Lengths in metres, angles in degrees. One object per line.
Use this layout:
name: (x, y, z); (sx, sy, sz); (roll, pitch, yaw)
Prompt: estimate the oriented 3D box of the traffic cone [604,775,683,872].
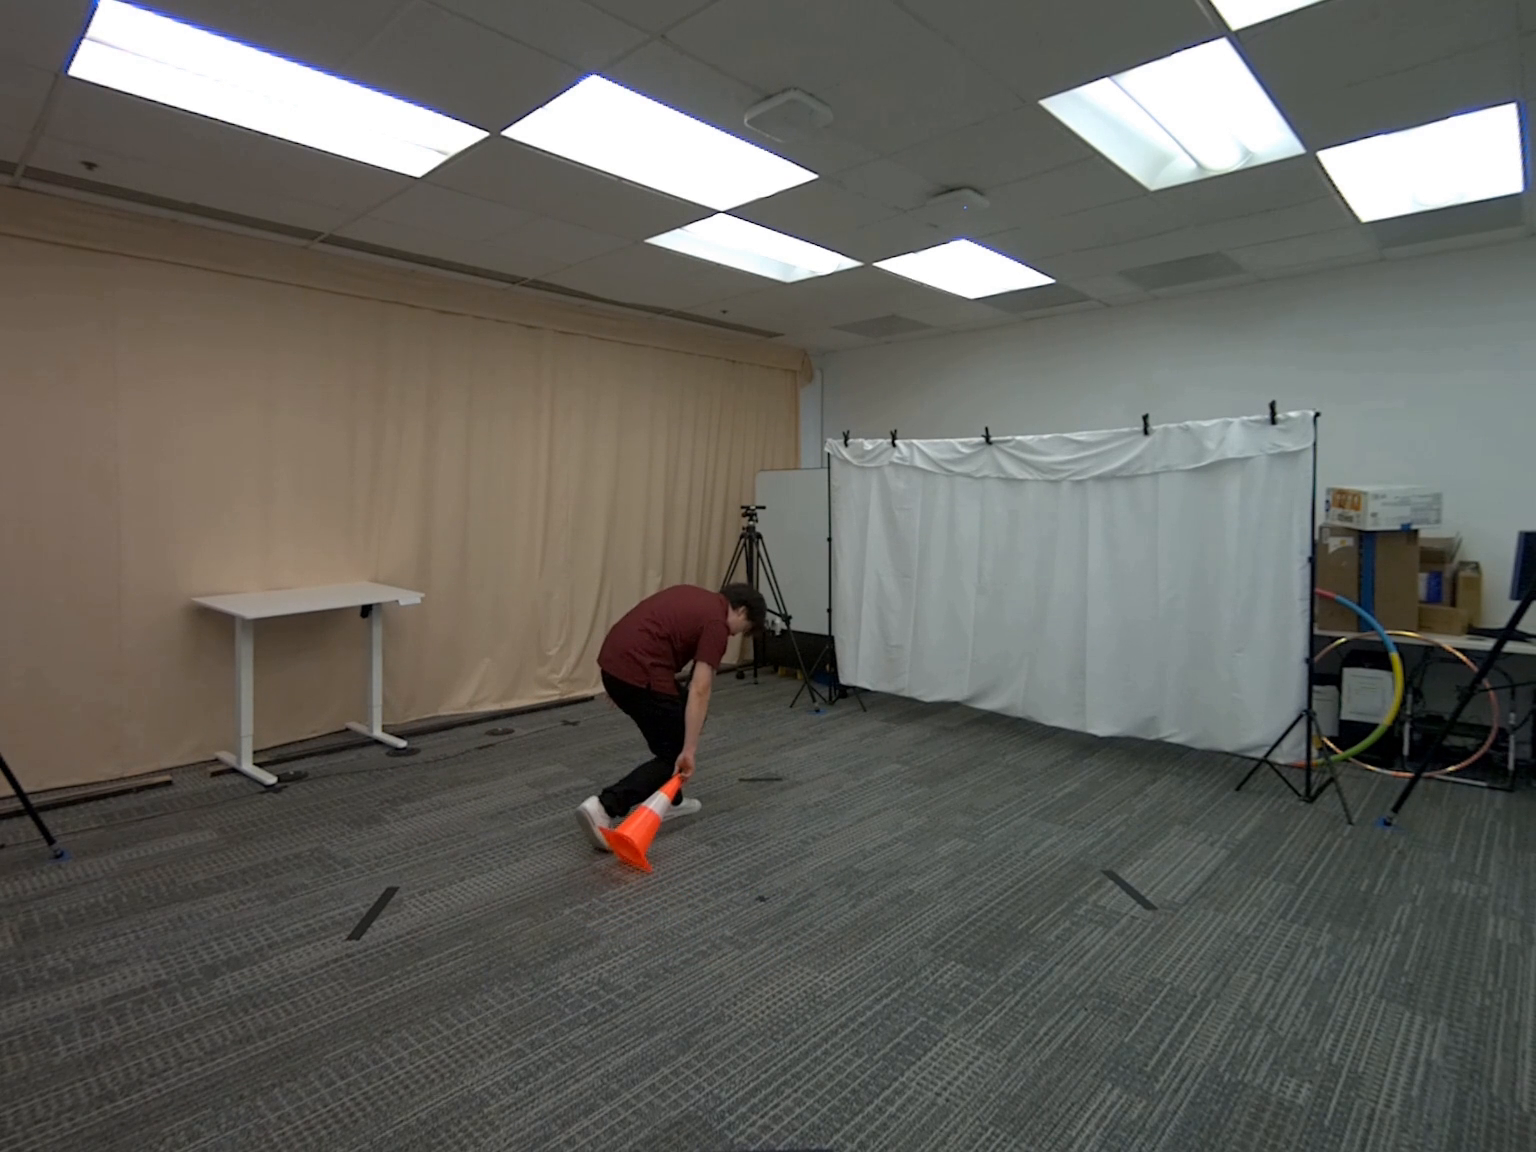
traffic cone: (-0.456, 0.929, 3.346); (0.211, 0.199, 0.381); (-4, 33, 40)
